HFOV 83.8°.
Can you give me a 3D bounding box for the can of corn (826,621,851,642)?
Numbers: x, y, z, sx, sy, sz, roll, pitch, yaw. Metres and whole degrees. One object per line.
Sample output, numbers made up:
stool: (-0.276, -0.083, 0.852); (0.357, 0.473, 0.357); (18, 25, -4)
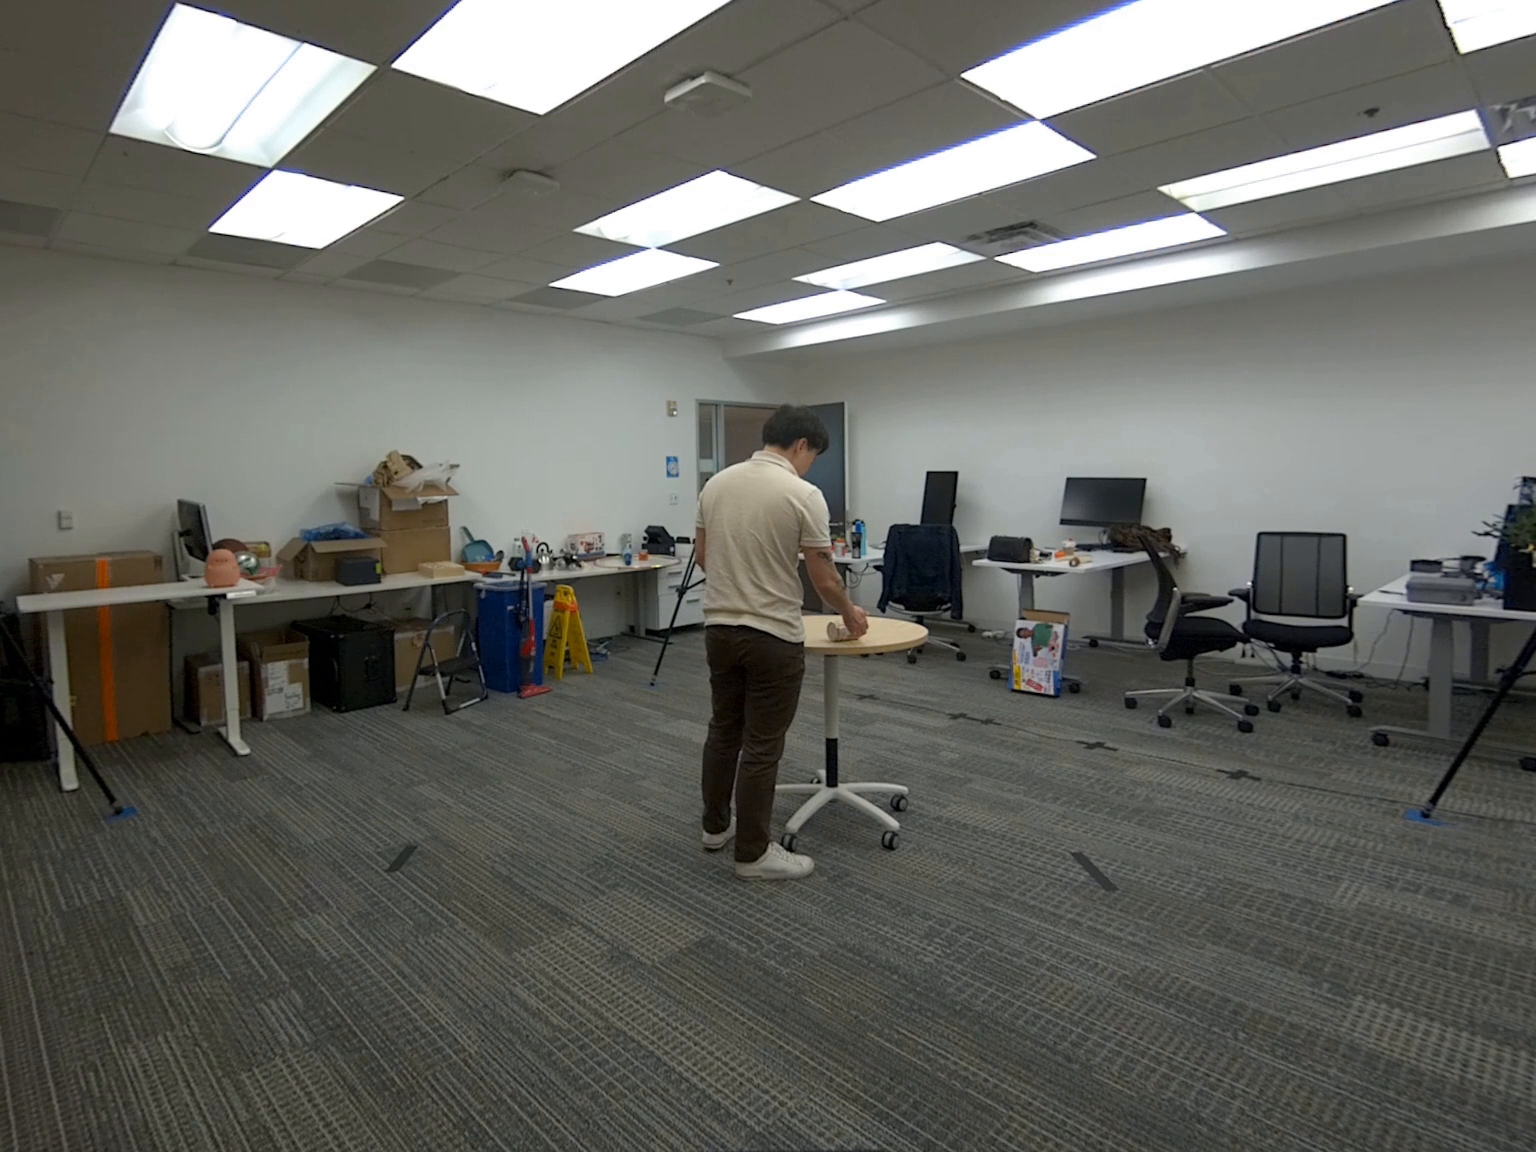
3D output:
can of corn: (0.292, 0.204, 3.204); (0.108, 0.074, 0.076); (-2, 4, -27)
